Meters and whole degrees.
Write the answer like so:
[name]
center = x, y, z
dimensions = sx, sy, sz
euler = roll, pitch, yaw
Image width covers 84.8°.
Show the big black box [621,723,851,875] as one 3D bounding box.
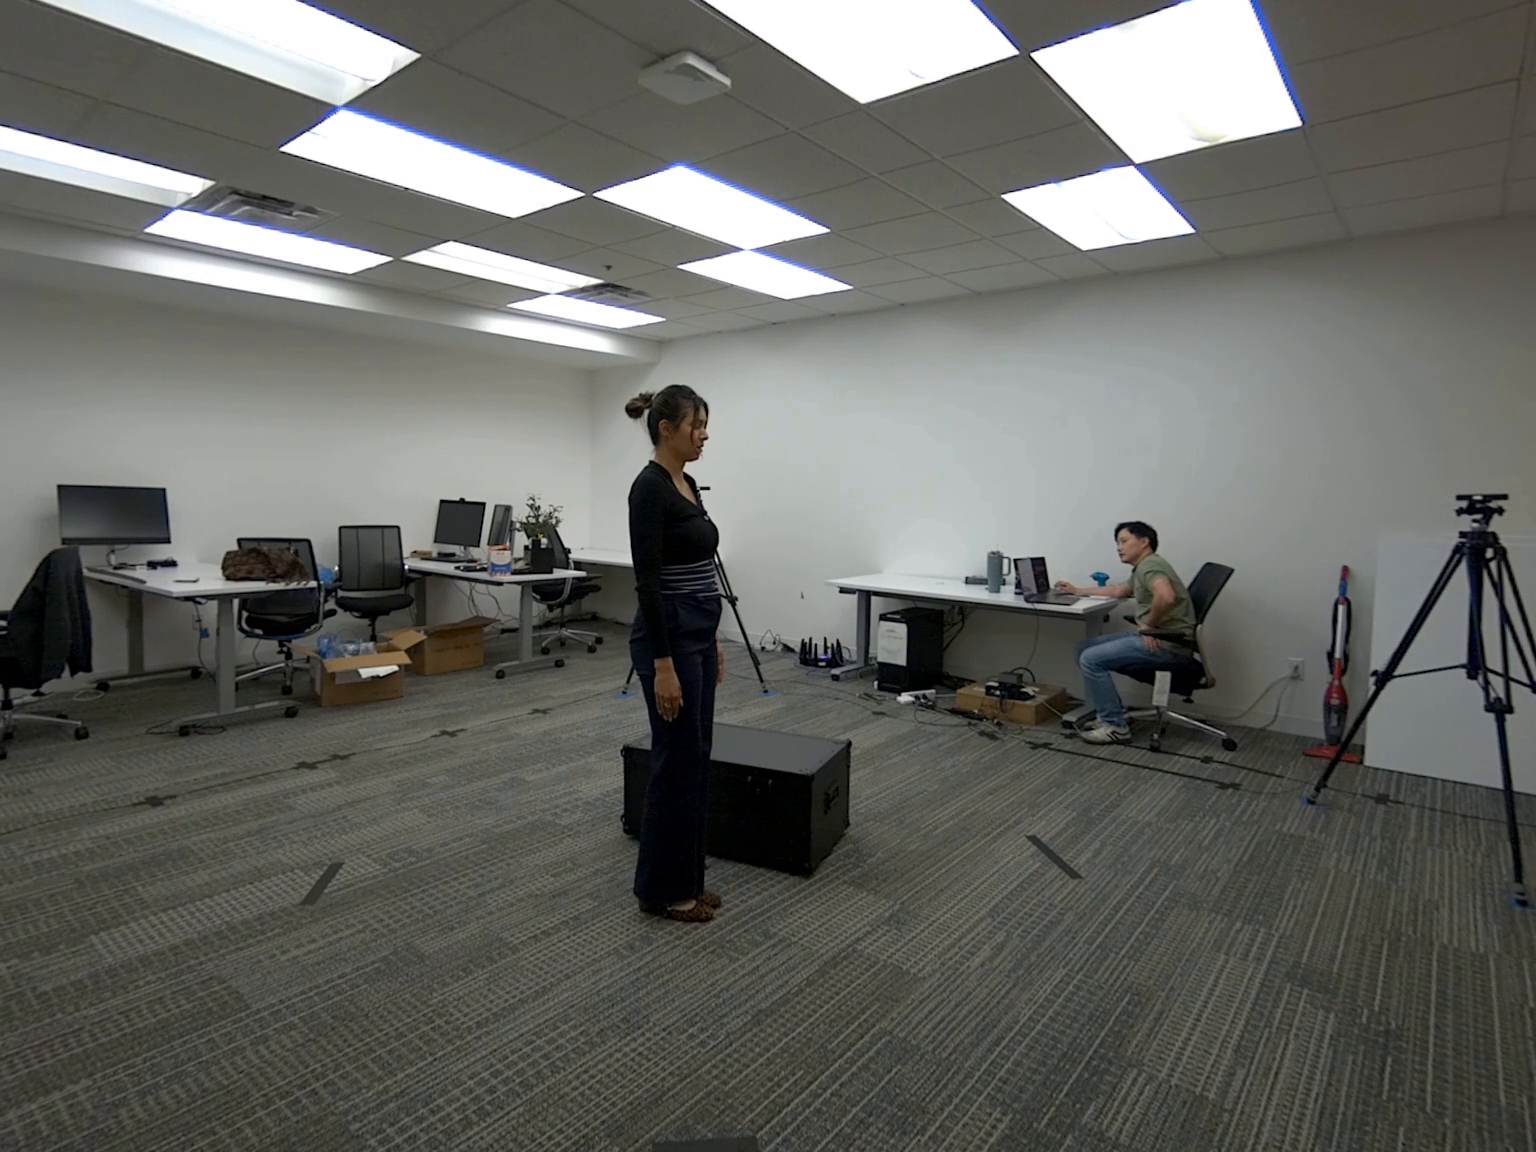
[big black box]
center = -0.158, 0.847, 3.410
dimensions = 0.883, 0.395, 0.510
euler = 3, 5, 24
